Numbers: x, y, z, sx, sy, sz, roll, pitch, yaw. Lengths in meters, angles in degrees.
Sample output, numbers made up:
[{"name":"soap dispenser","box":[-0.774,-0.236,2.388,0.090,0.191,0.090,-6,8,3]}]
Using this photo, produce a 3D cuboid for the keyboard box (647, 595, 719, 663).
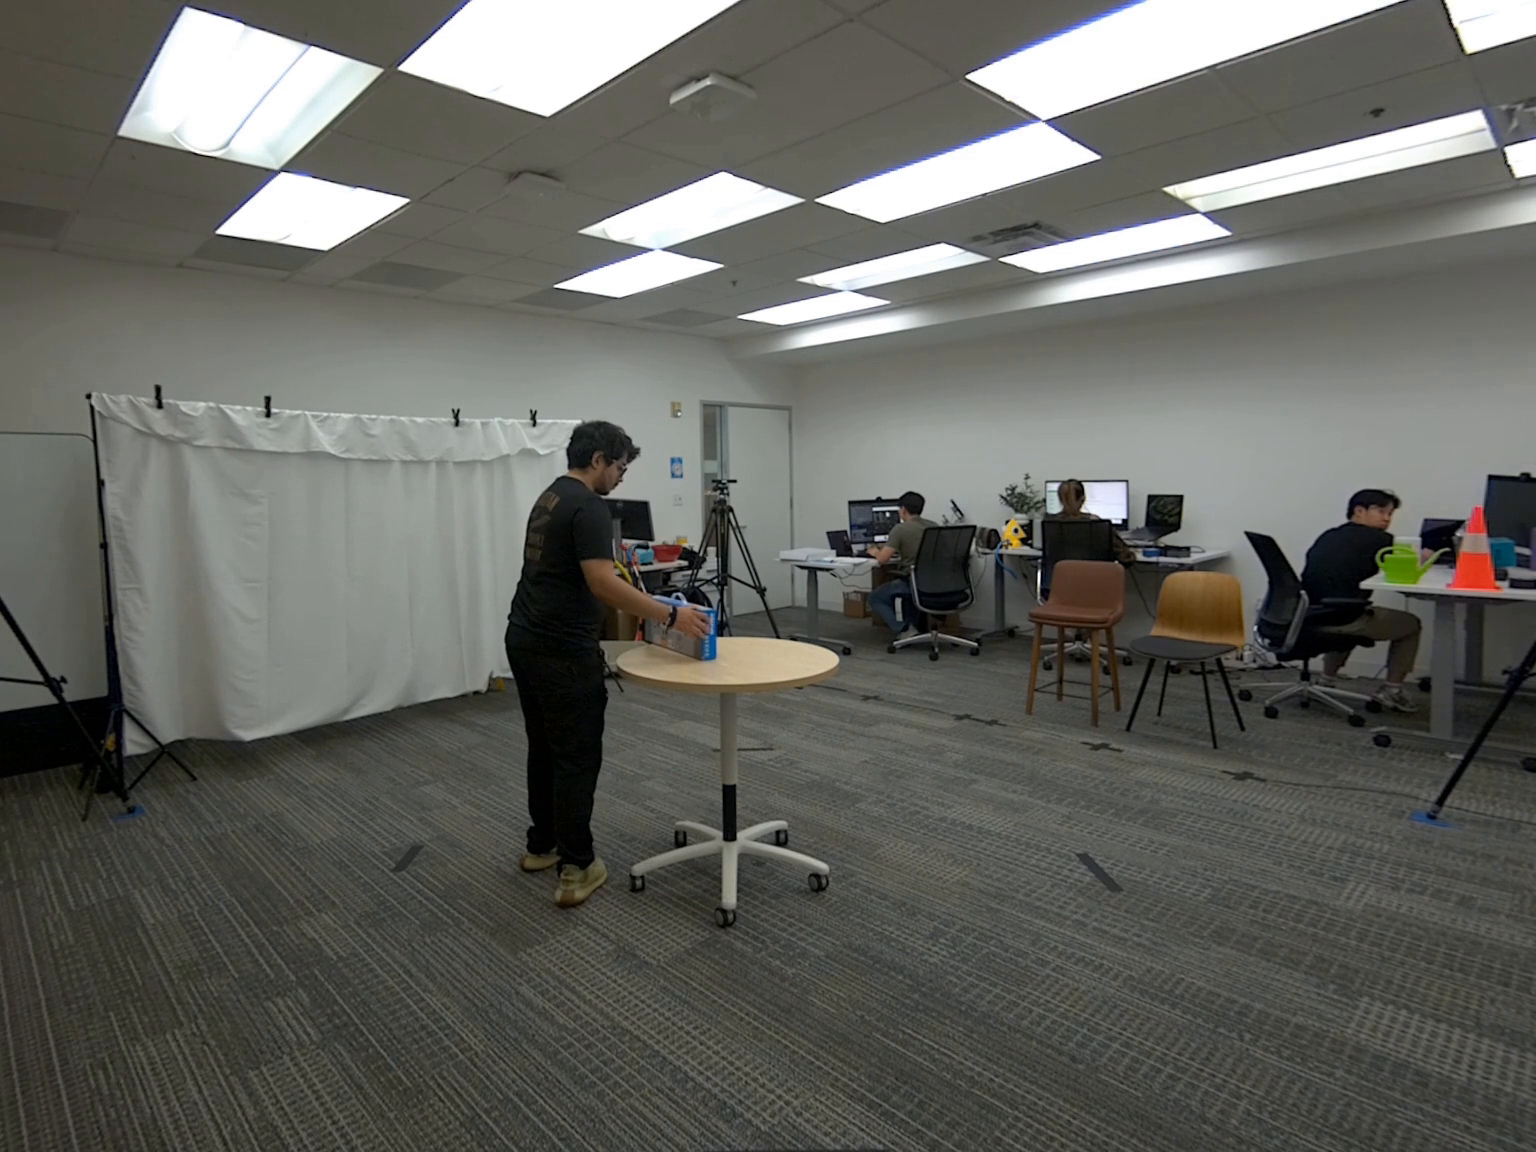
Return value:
[{"name":"keyboard box","box":[-0.318,0.182,3.095,0.058,0.175,0.449,-4,7,-32]}]
